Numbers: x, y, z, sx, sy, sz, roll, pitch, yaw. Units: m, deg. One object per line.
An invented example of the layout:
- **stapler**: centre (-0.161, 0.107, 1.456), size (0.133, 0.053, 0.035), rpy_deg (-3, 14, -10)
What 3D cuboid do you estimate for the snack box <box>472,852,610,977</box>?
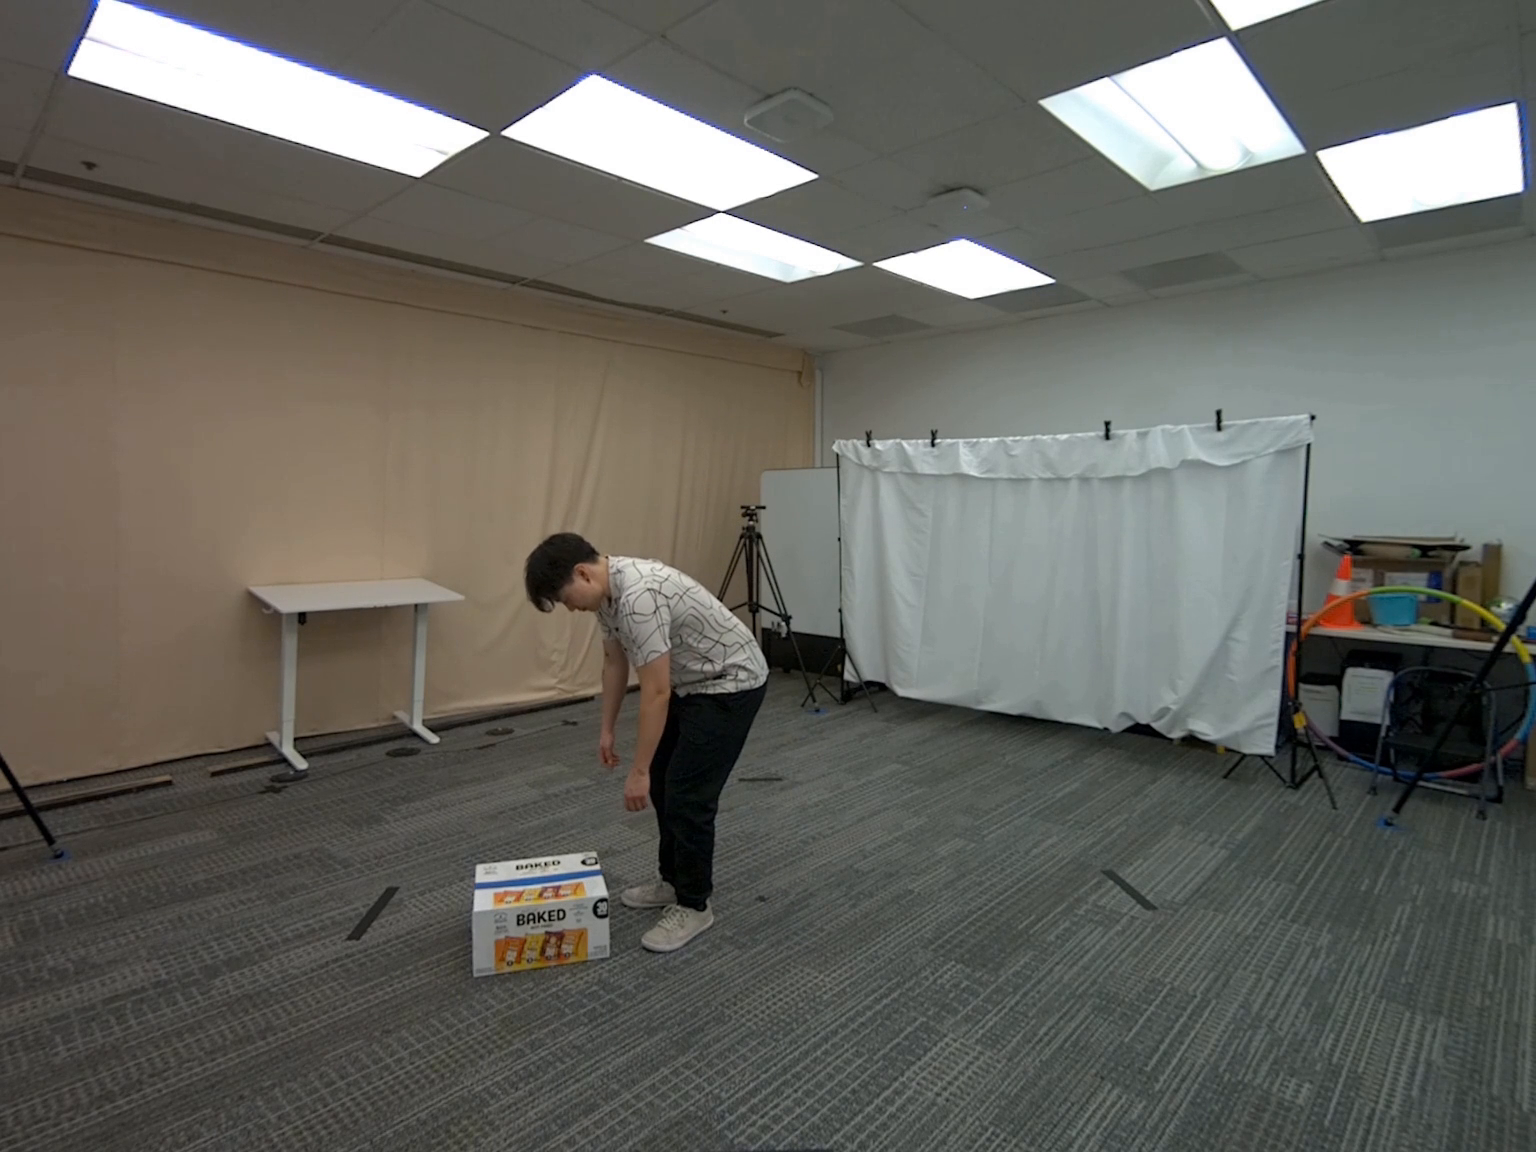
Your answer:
- **snack box**: centre (-0.735, 1.072, 2.695), size (0.399, 0.205, 0.347), rpy_deg (-2, 5, -16)
